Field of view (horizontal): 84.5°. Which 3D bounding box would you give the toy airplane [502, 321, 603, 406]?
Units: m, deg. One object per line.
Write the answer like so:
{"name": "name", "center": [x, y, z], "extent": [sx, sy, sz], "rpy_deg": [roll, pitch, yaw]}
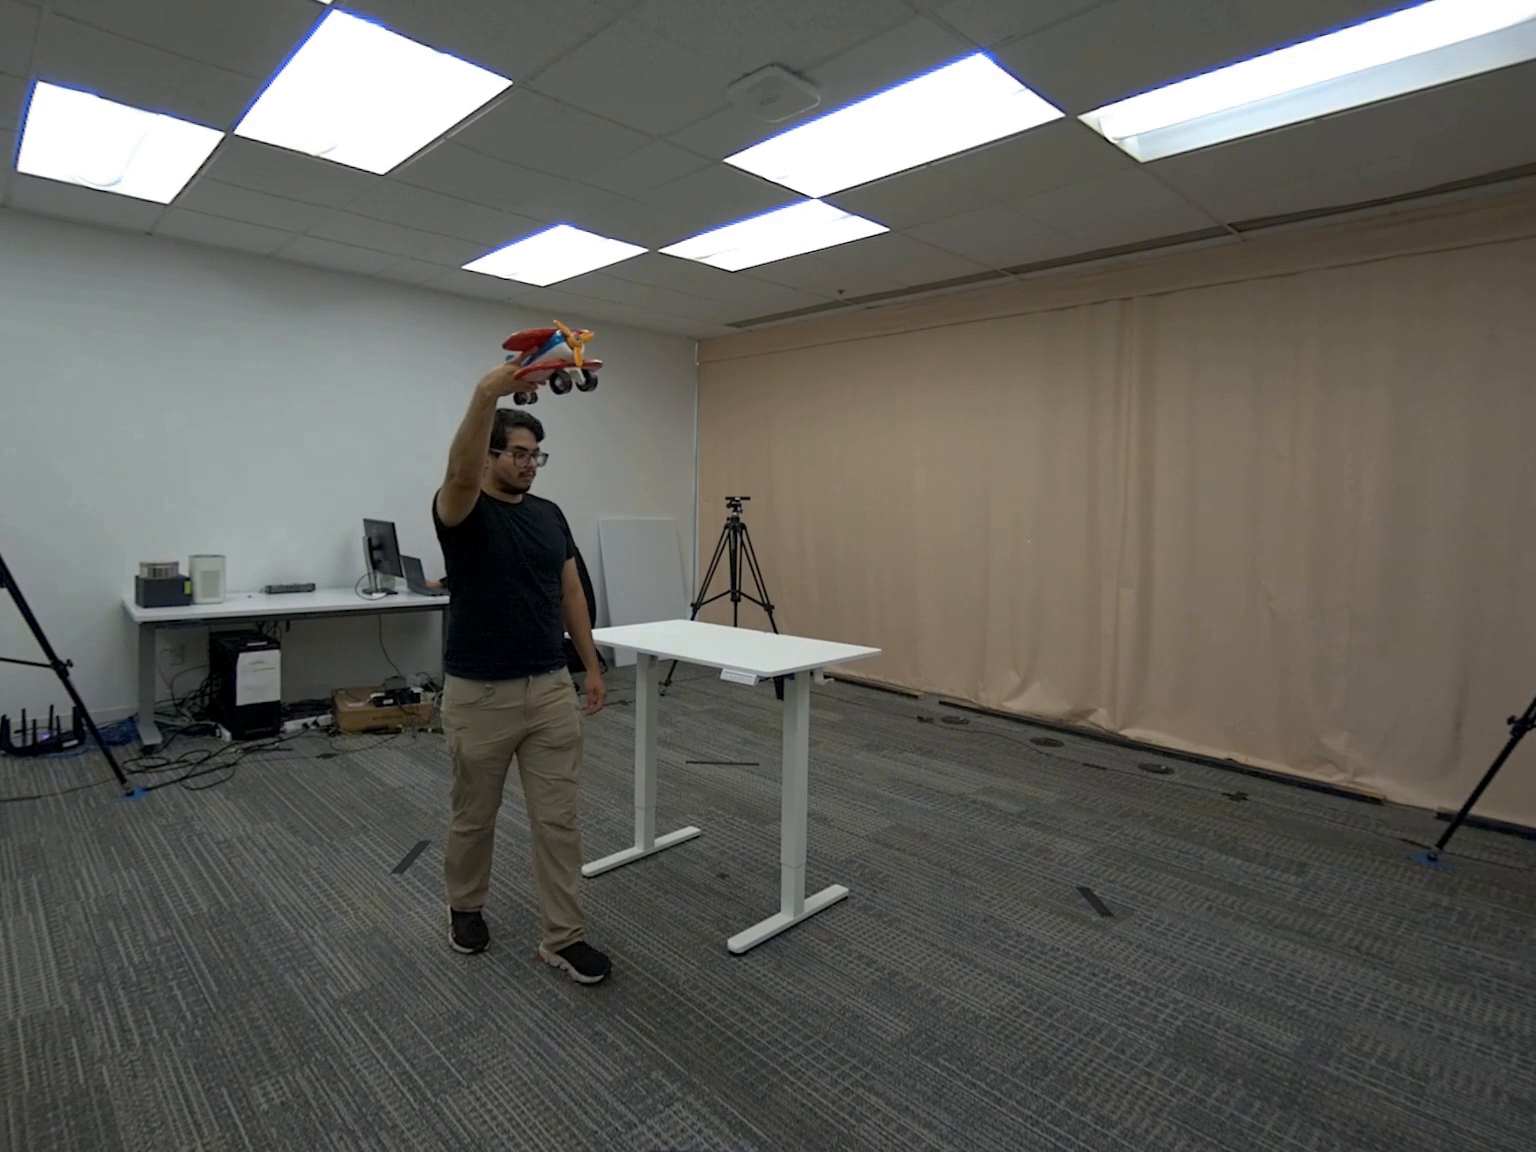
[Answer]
{"name": "toy airplane", "center": [-0.546, -0.504, 1.999], "extent": [0.260, 0.155, 0.252], "rpy_deg": [-9, 9, 7]}
